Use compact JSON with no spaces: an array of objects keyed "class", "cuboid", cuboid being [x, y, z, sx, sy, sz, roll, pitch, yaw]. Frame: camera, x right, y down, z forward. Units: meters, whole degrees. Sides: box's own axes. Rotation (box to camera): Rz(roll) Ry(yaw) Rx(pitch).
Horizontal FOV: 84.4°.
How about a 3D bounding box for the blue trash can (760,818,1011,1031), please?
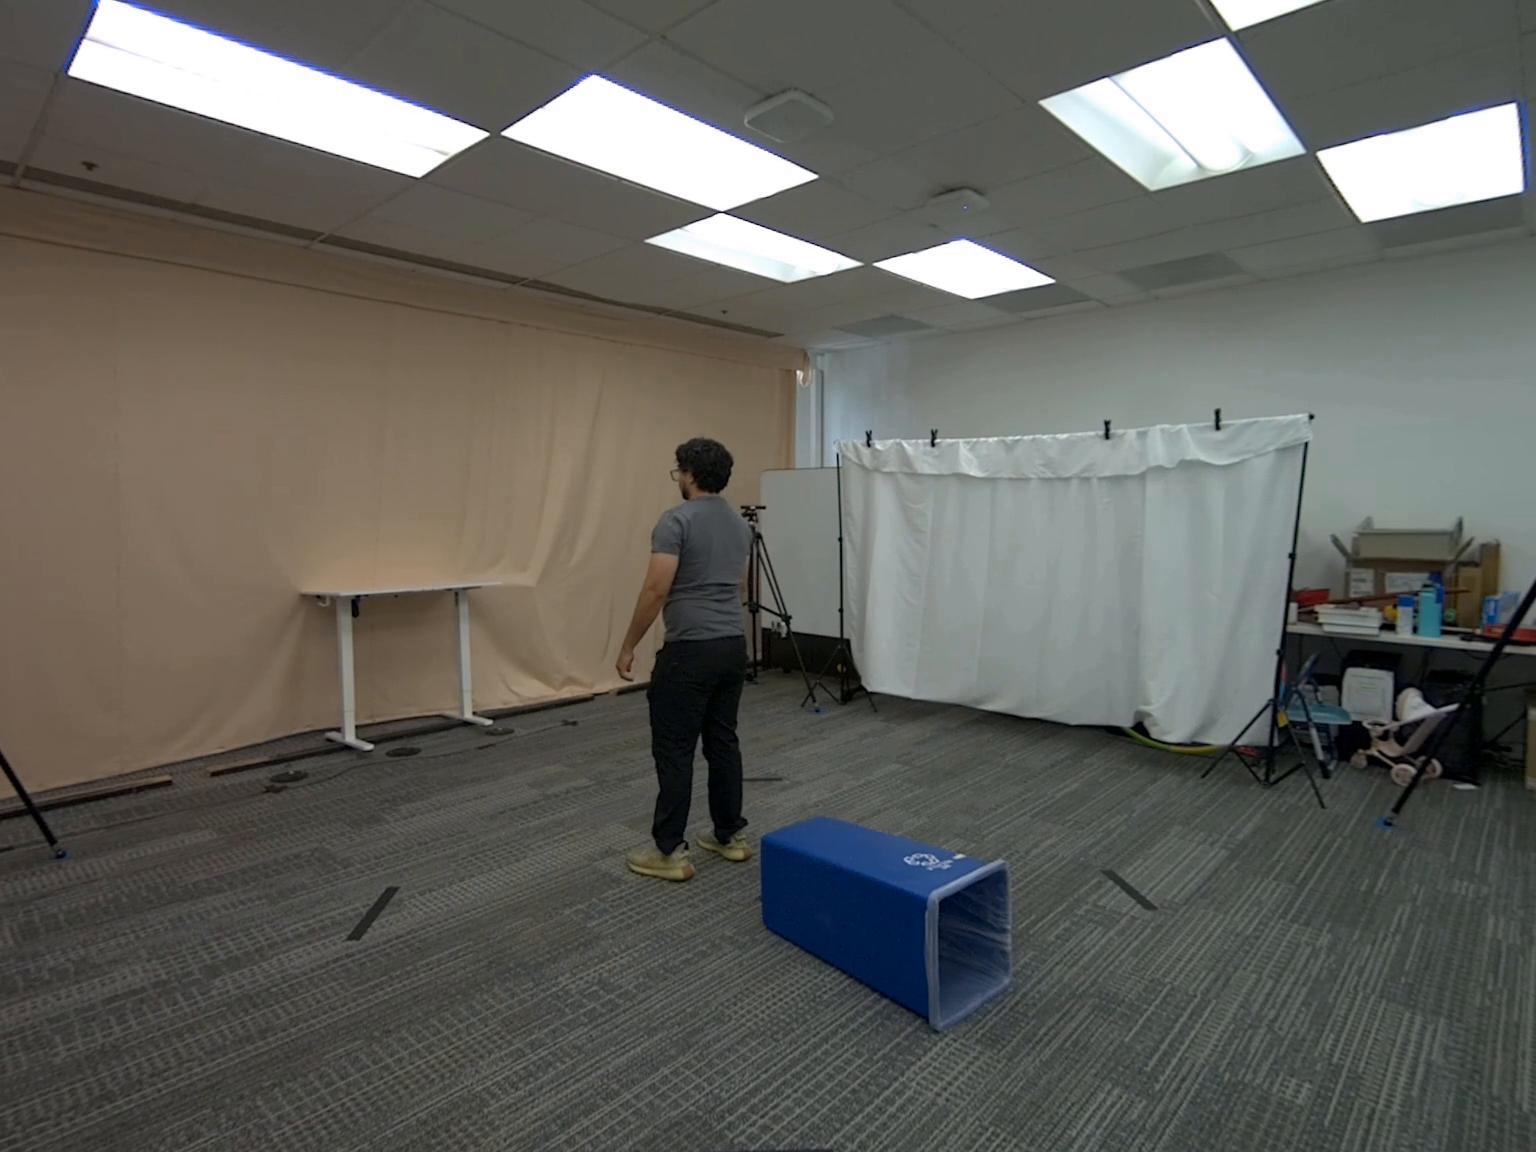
[{"class":"blue trash can","cuboid":[0.333,0.997,2.591,0.366,0.373,0.737,-4,4,-42]}]
